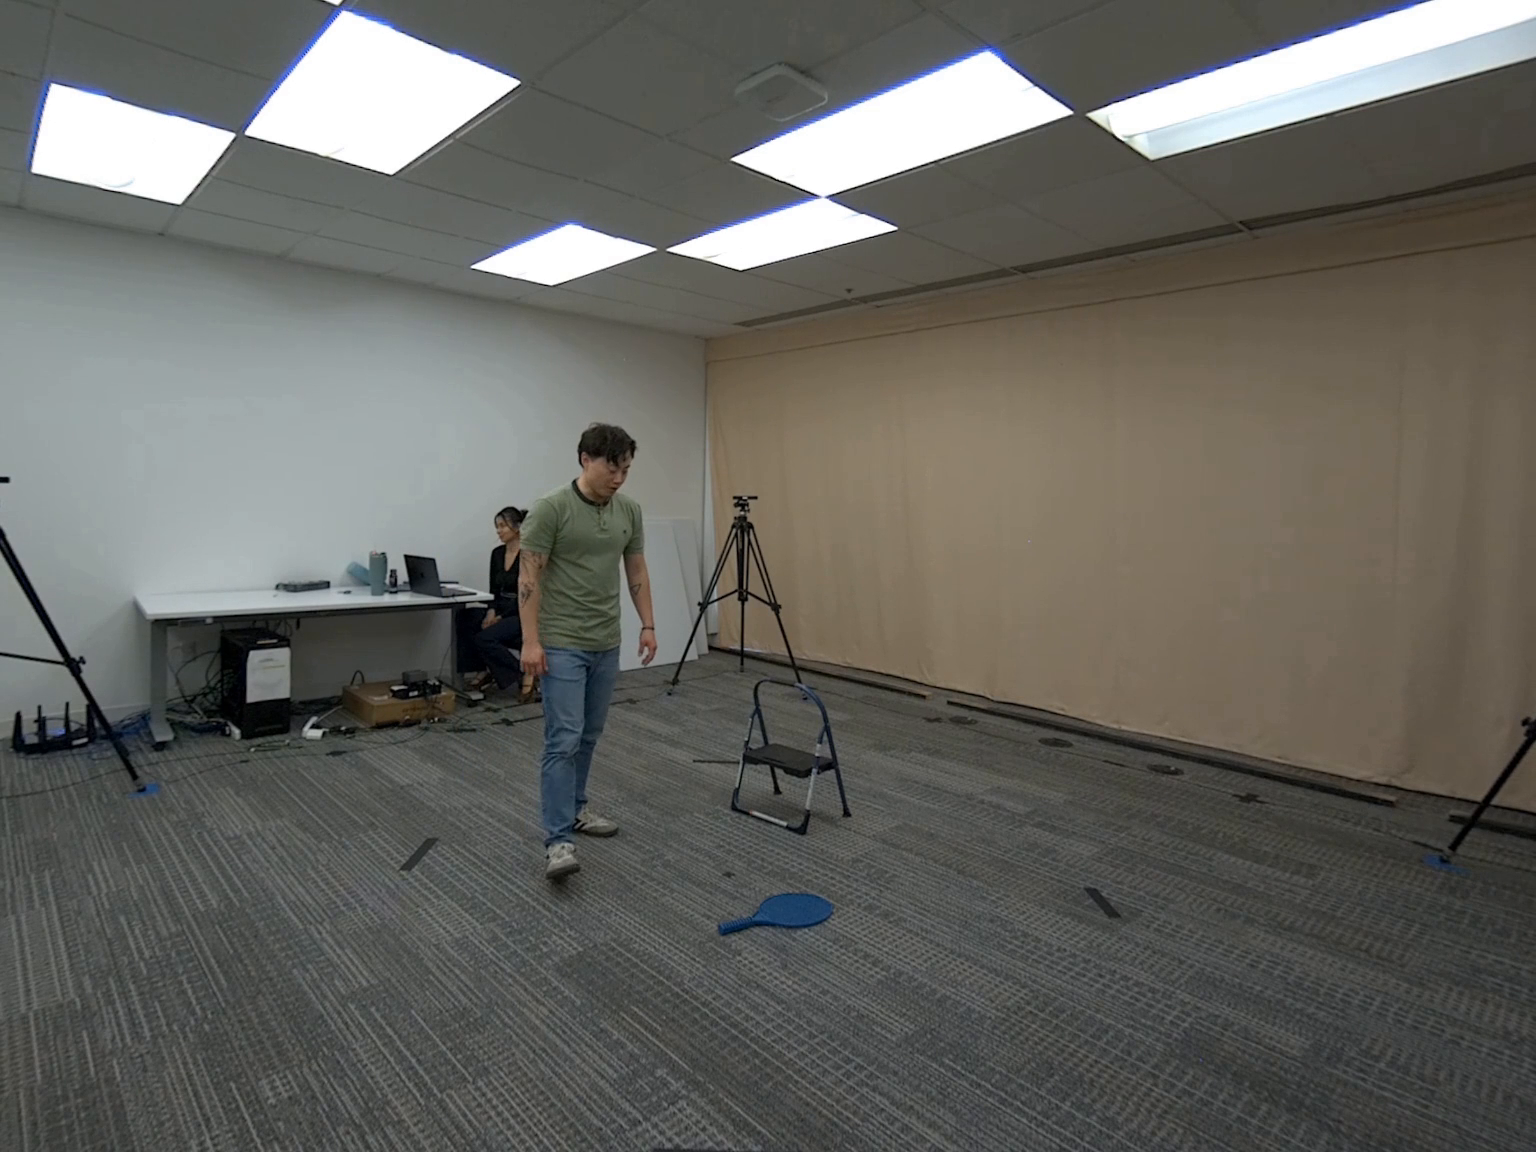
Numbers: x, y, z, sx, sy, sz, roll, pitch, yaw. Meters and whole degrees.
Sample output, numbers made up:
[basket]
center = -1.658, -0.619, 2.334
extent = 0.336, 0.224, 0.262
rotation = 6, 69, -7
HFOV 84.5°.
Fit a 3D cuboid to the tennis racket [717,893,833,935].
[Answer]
[tennis racket]
center = 0.022, 1.125, 2.786
extent = 0.423, 0.031, 0.219
rotation = -1, 6, -34
